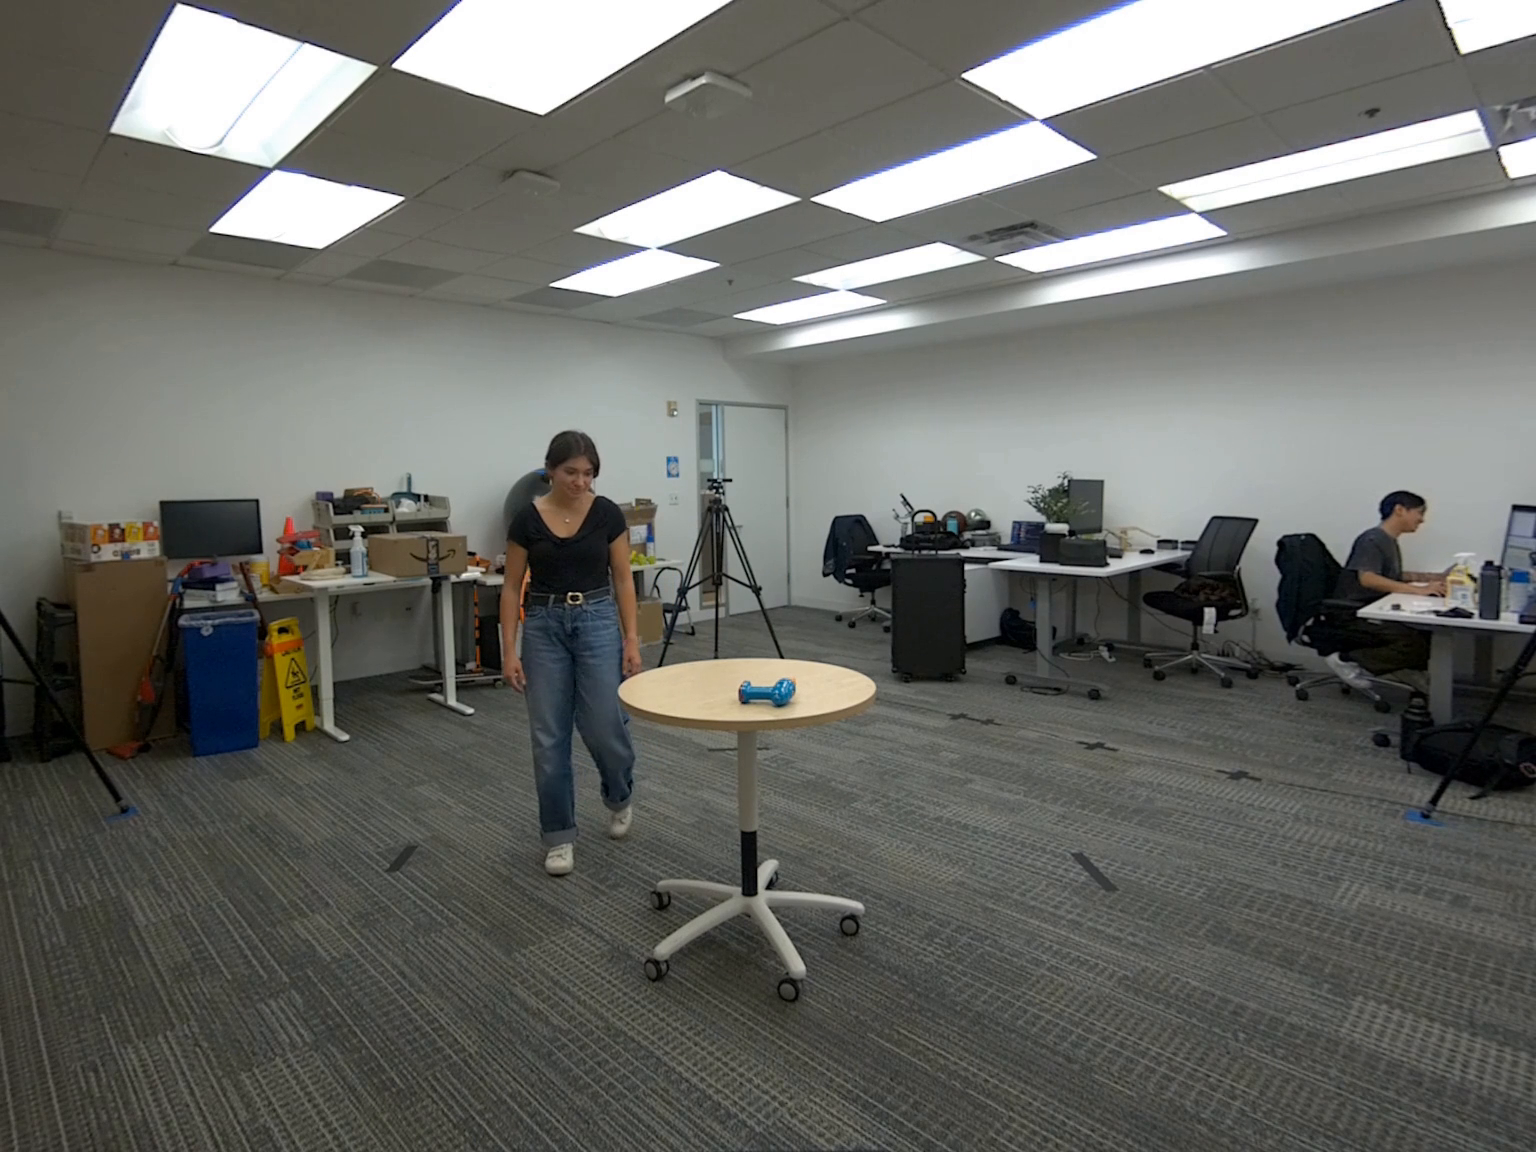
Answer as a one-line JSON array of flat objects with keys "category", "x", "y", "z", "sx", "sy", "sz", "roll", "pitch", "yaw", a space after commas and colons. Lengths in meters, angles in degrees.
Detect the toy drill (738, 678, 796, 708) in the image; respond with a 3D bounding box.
[{"category": "toy drill", "x": 0.020, "y": 0.318, "z": 2.364, "sx": 0.149, "sy": 0.060, "sz": 0.168, "roll": -1, "pitch": 14, "yaw": 20}]
